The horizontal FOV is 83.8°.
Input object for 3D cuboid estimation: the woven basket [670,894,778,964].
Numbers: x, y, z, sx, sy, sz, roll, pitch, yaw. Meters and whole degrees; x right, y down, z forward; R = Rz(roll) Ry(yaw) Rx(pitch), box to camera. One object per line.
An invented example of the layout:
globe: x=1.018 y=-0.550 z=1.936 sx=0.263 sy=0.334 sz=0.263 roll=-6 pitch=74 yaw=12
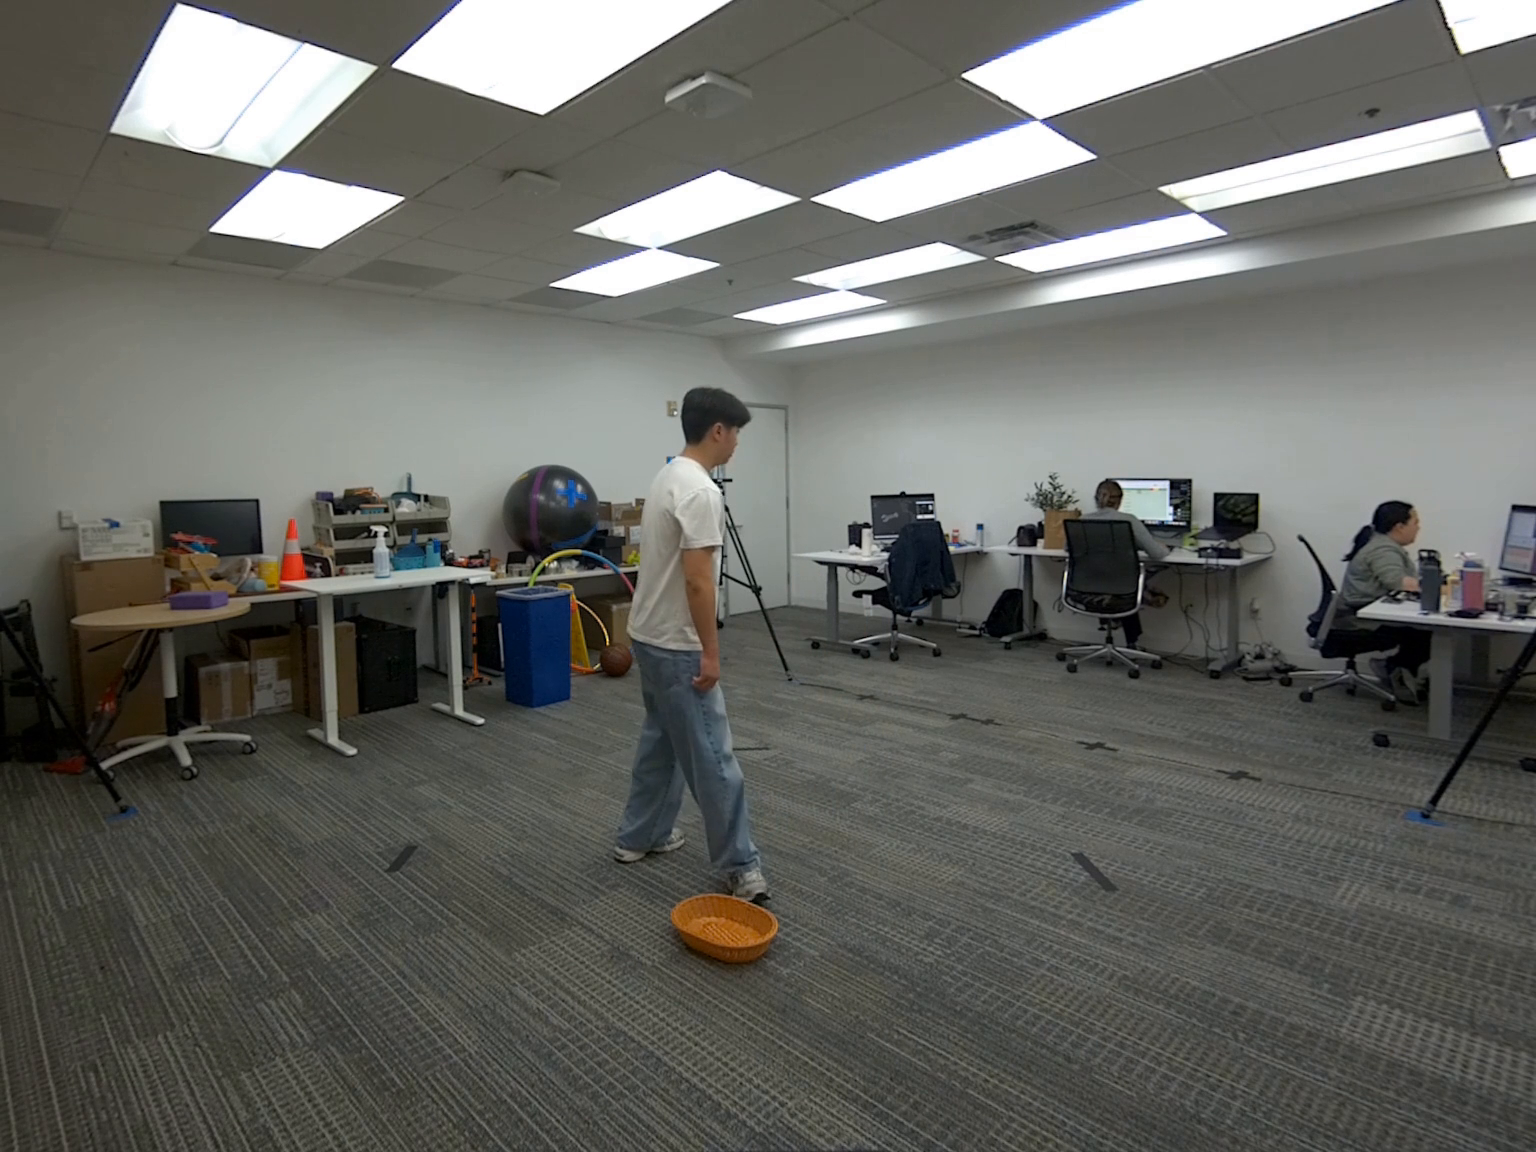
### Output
woven basket: x=-0.126 y=1.071 z=2.589 sx=0.361 sy=0.073 sz=0.246 roll=4 pitch=8 yaw=38
